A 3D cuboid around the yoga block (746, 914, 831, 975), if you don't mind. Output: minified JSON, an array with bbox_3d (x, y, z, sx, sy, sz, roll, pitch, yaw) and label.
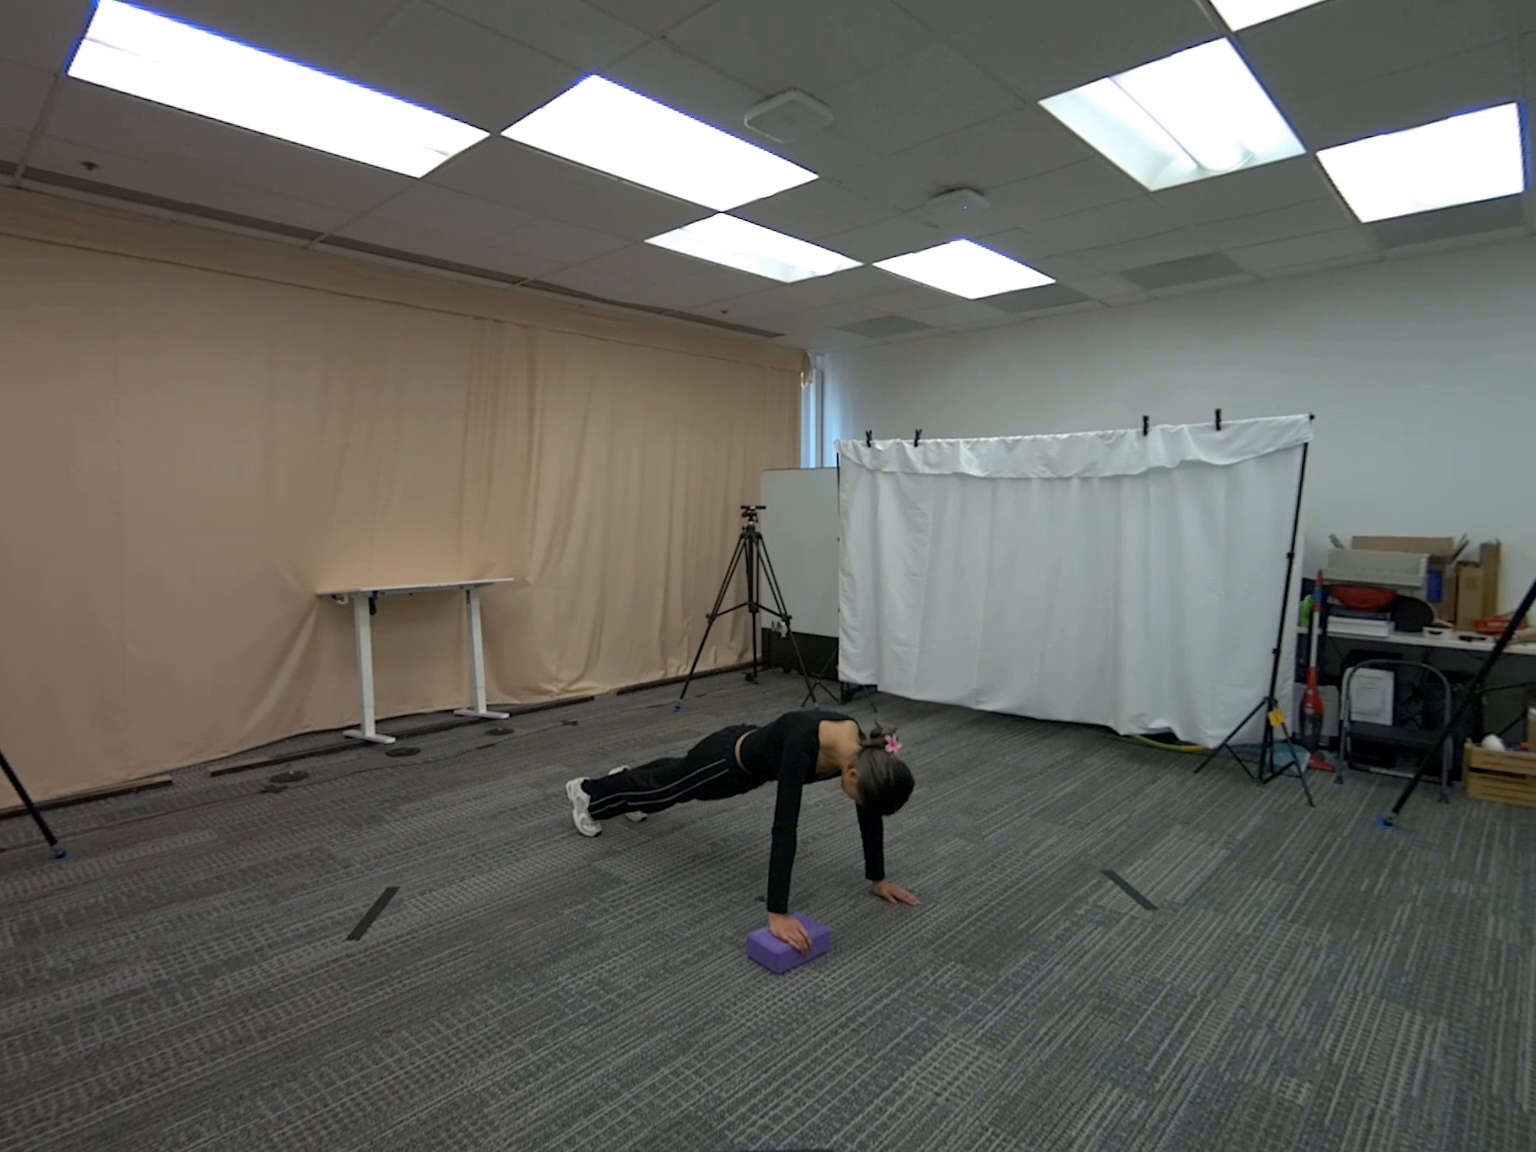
[{"bbox_3d":[0.070,1.139,2.615,0.223,0.076,0.154,-6,7,-39],"label":"yoga block"}]
